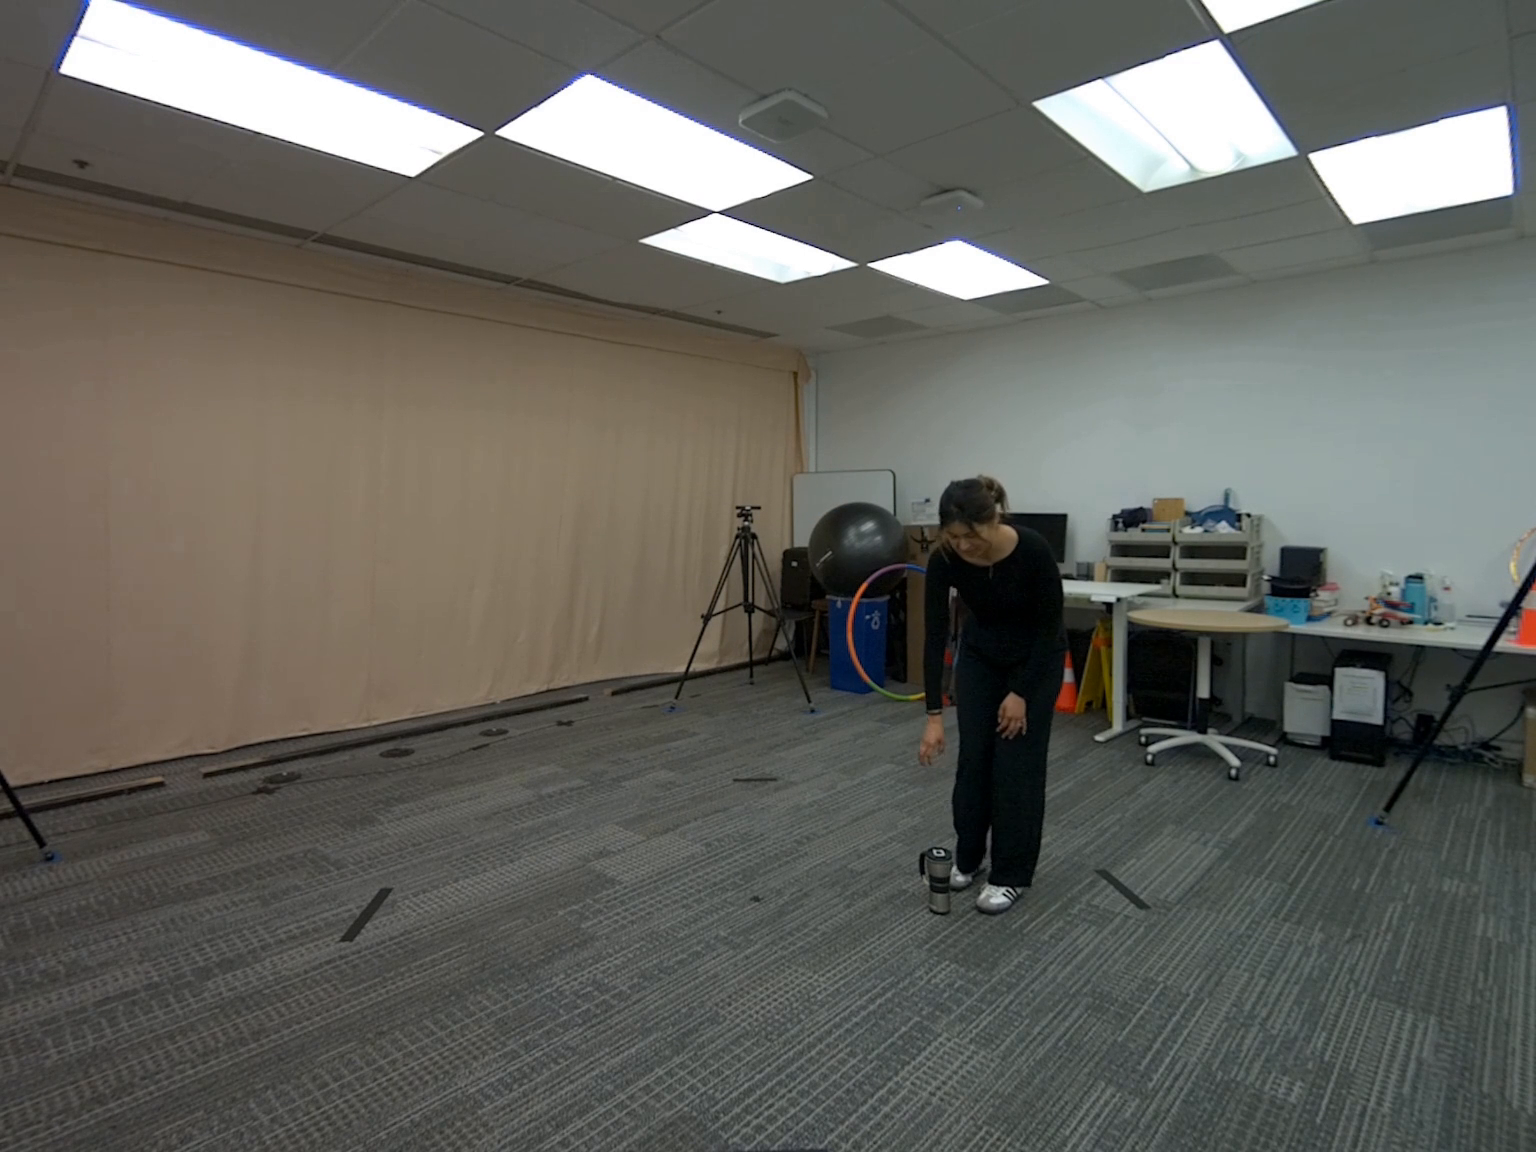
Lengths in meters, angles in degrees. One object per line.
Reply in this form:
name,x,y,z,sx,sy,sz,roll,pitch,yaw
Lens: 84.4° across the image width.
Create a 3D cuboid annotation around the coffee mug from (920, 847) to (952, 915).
coffee mug,0.596,1.053,2.905,0.086,0.202,0.124,-3,6,-15
